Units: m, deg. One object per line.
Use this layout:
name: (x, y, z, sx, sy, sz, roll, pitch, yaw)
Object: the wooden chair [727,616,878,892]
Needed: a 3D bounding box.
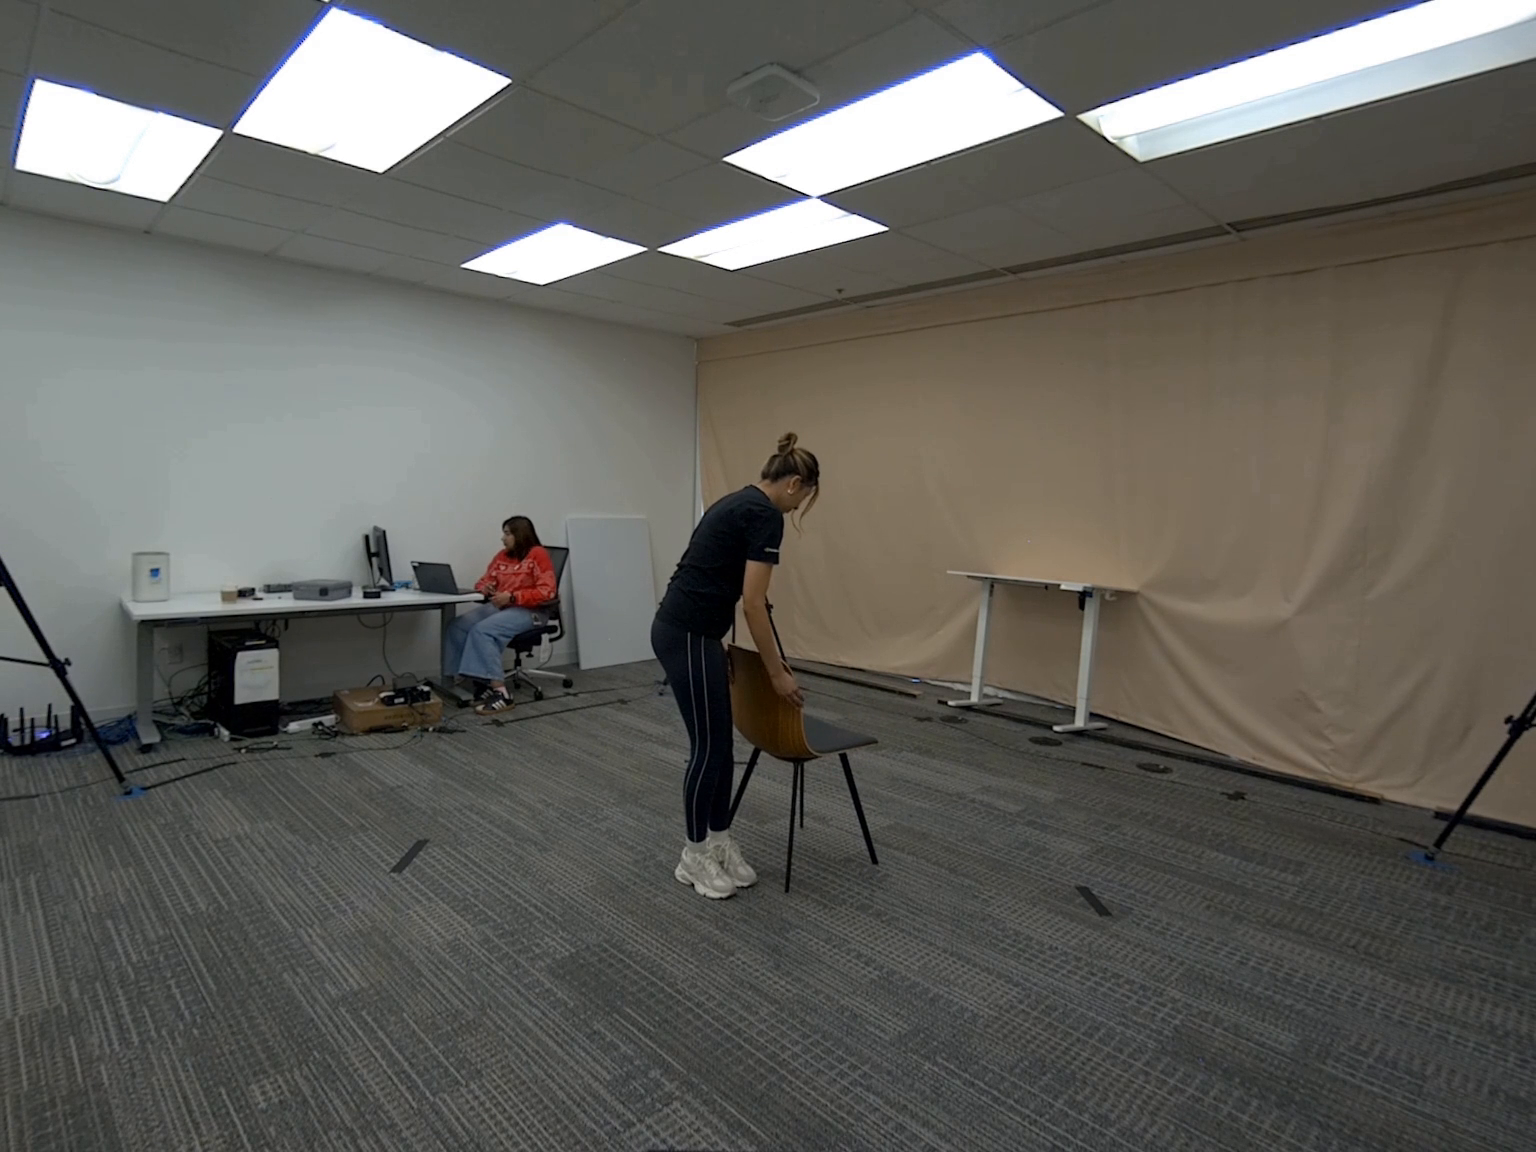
wooden chair: (0.120, 0.667, 3.260, 0.512, 0.873, 0.490, -6, 7, -36)
